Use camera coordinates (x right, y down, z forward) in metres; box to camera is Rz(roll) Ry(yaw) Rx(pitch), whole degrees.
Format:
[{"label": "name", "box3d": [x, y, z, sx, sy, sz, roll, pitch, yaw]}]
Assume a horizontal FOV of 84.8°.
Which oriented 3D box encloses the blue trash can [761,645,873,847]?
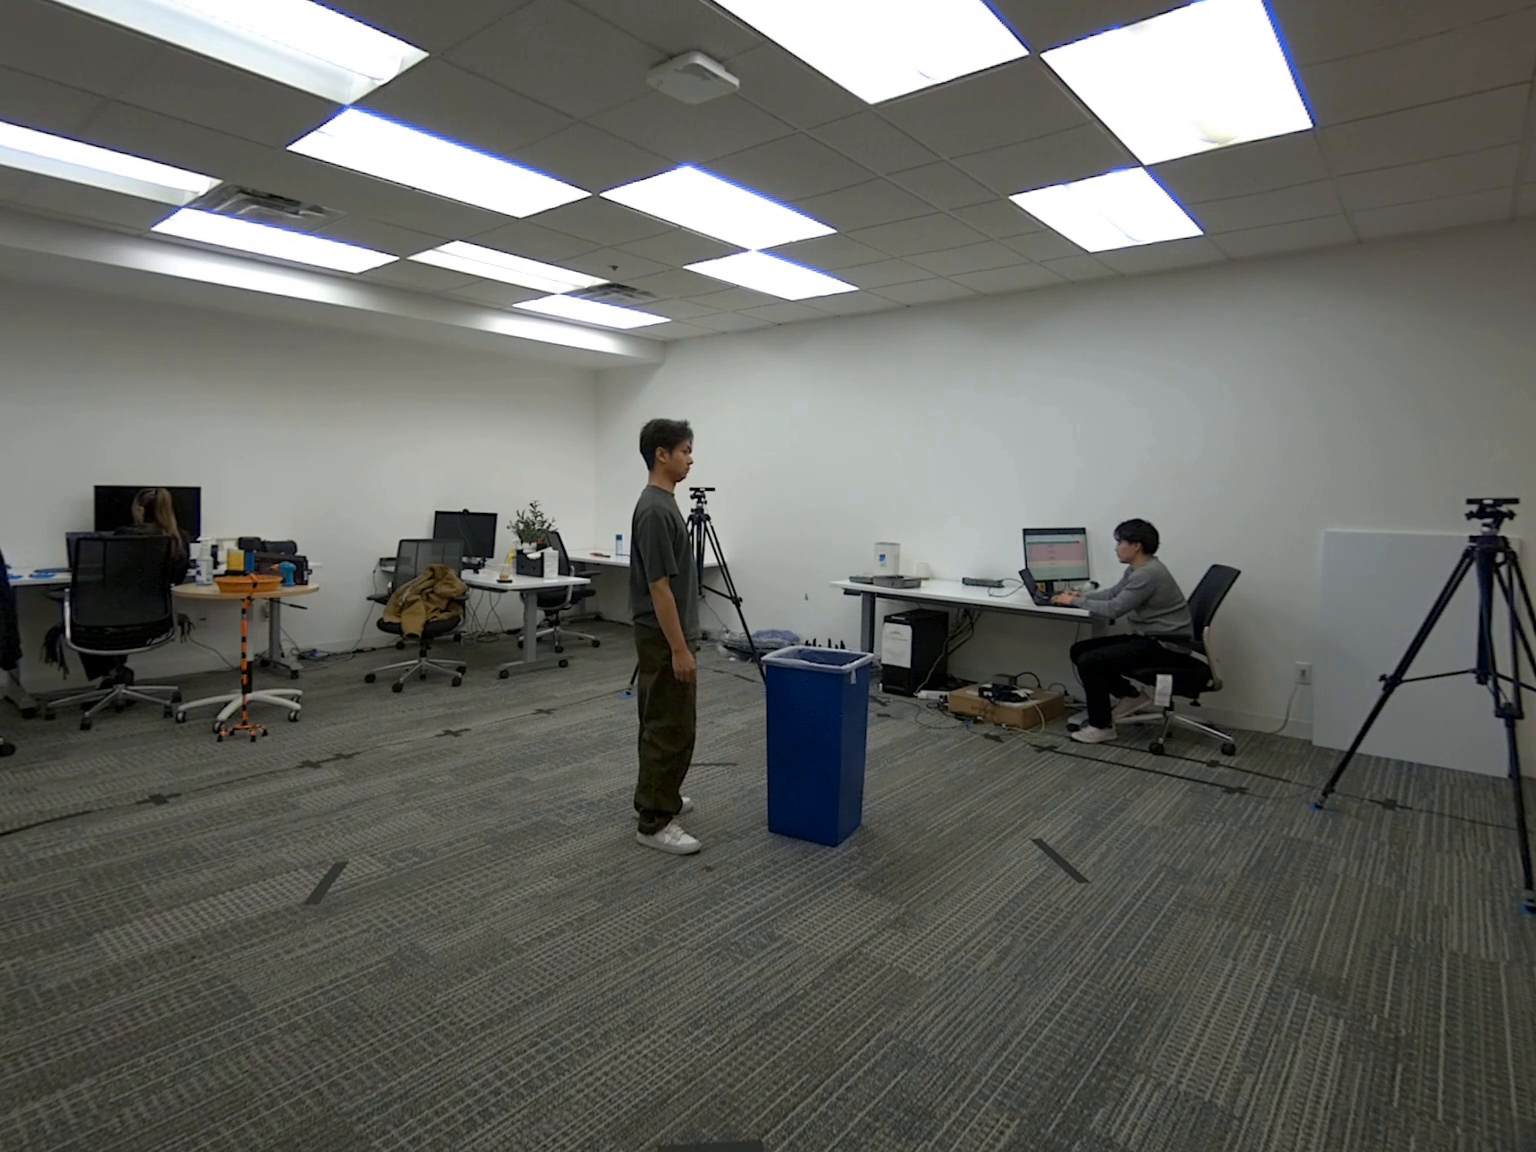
[{"label": "blue trash can", "box3d": [0.196, 0.681, 3.492, 0.388, 0.712, 0.365, 3, 3, 27]}]
